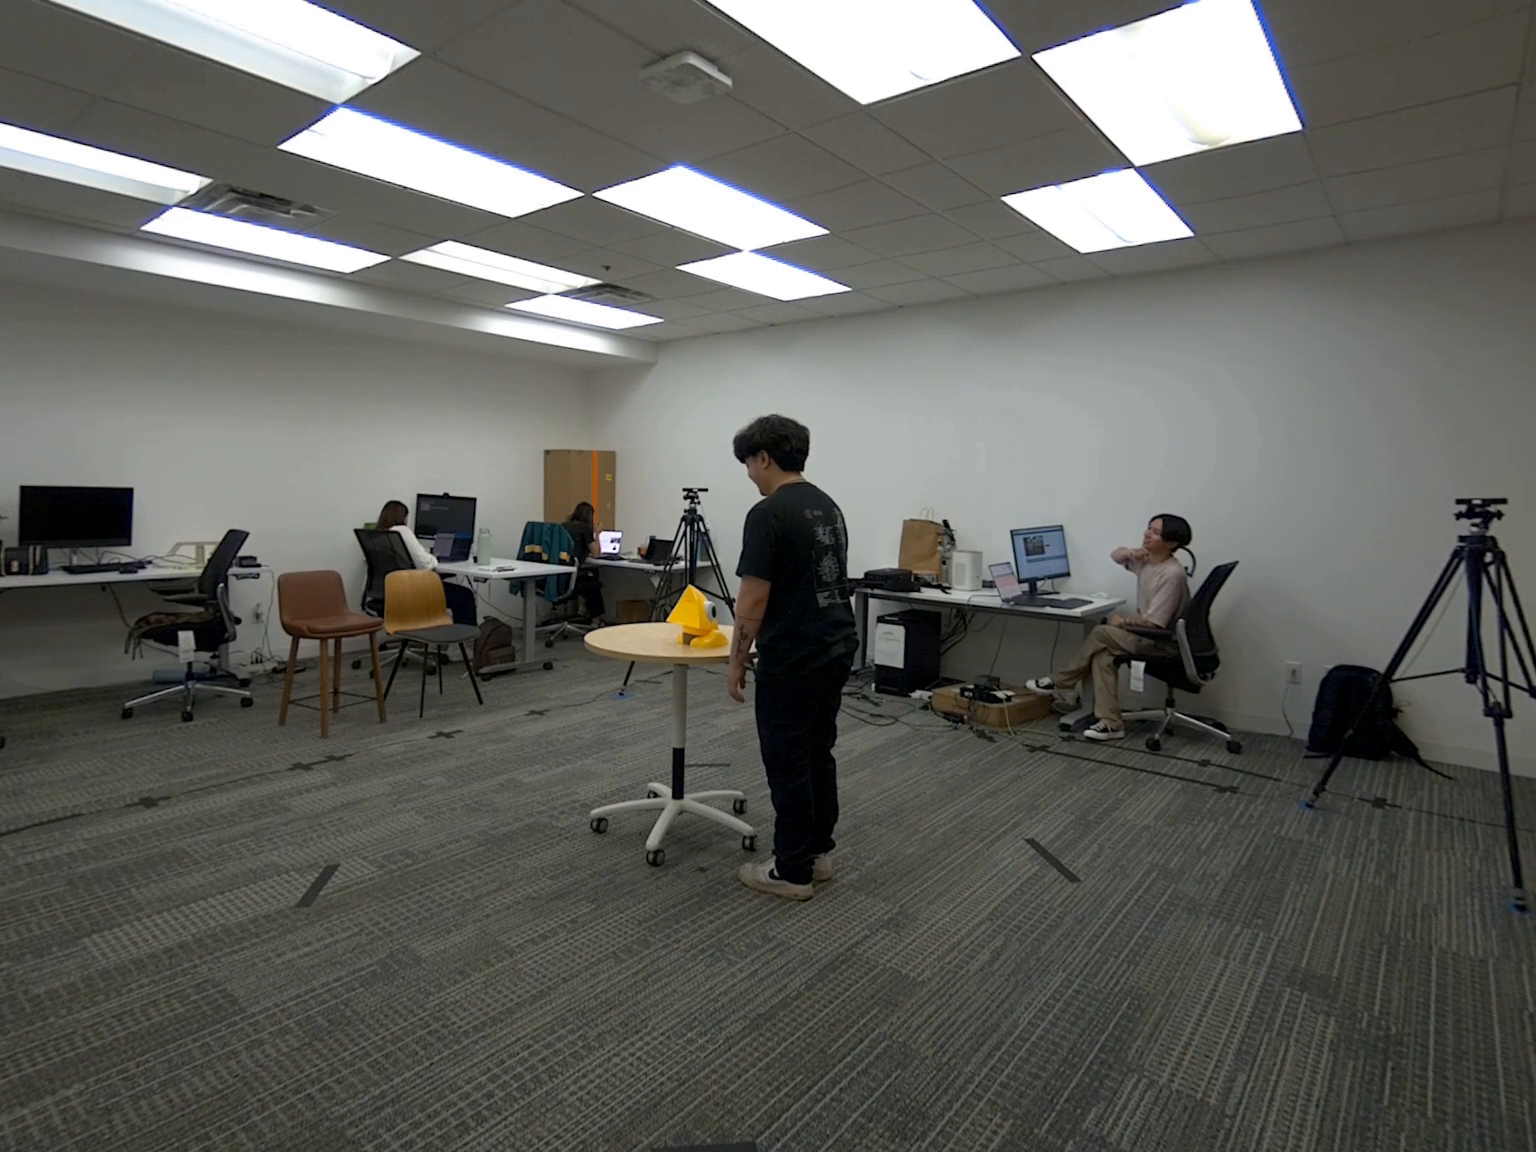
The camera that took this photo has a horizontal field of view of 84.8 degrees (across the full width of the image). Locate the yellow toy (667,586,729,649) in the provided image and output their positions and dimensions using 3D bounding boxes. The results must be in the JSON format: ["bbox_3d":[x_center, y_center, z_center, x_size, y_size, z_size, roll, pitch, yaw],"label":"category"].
[{"bbox_3d":[-0.273,0.143,3.308,0.187,0.230,0.212,-1,5,-43],"label":"yellow toy"}]
